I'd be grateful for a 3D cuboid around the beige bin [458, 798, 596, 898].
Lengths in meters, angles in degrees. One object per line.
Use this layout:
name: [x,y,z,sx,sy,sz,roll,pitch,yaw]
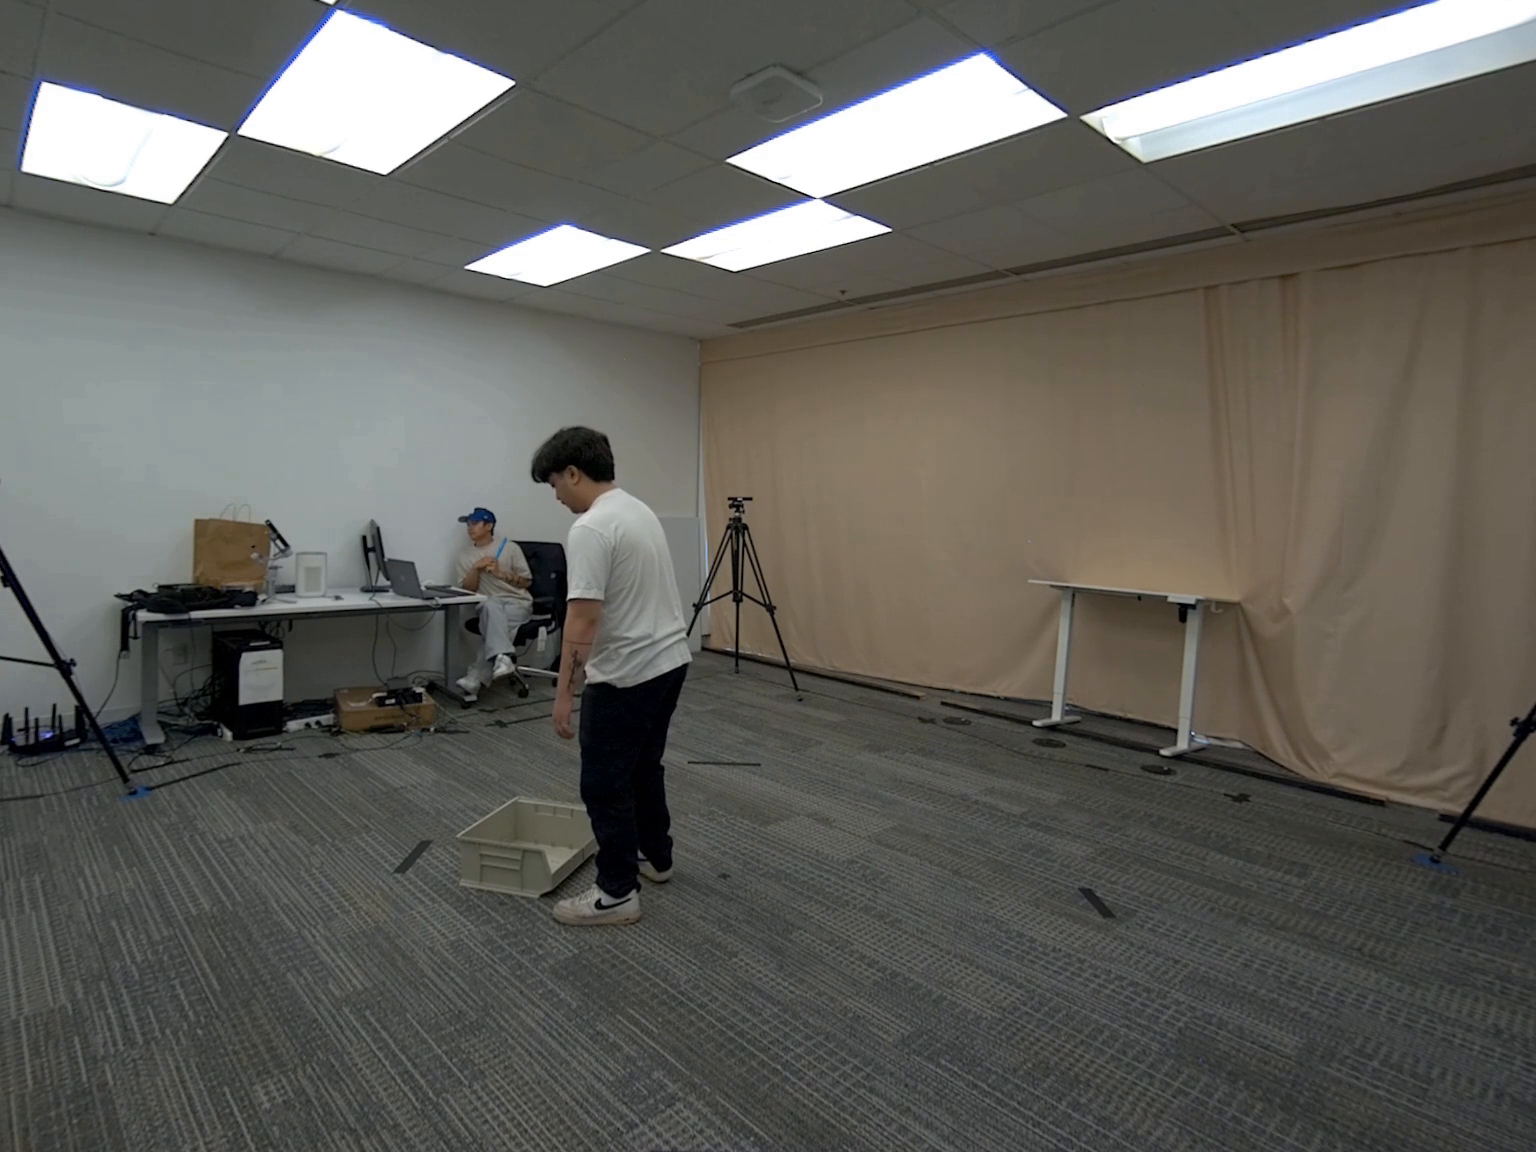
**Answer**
beige bin: [-0.885,1.003,3.127,0.382,0.188,0.419,1,5,14]
